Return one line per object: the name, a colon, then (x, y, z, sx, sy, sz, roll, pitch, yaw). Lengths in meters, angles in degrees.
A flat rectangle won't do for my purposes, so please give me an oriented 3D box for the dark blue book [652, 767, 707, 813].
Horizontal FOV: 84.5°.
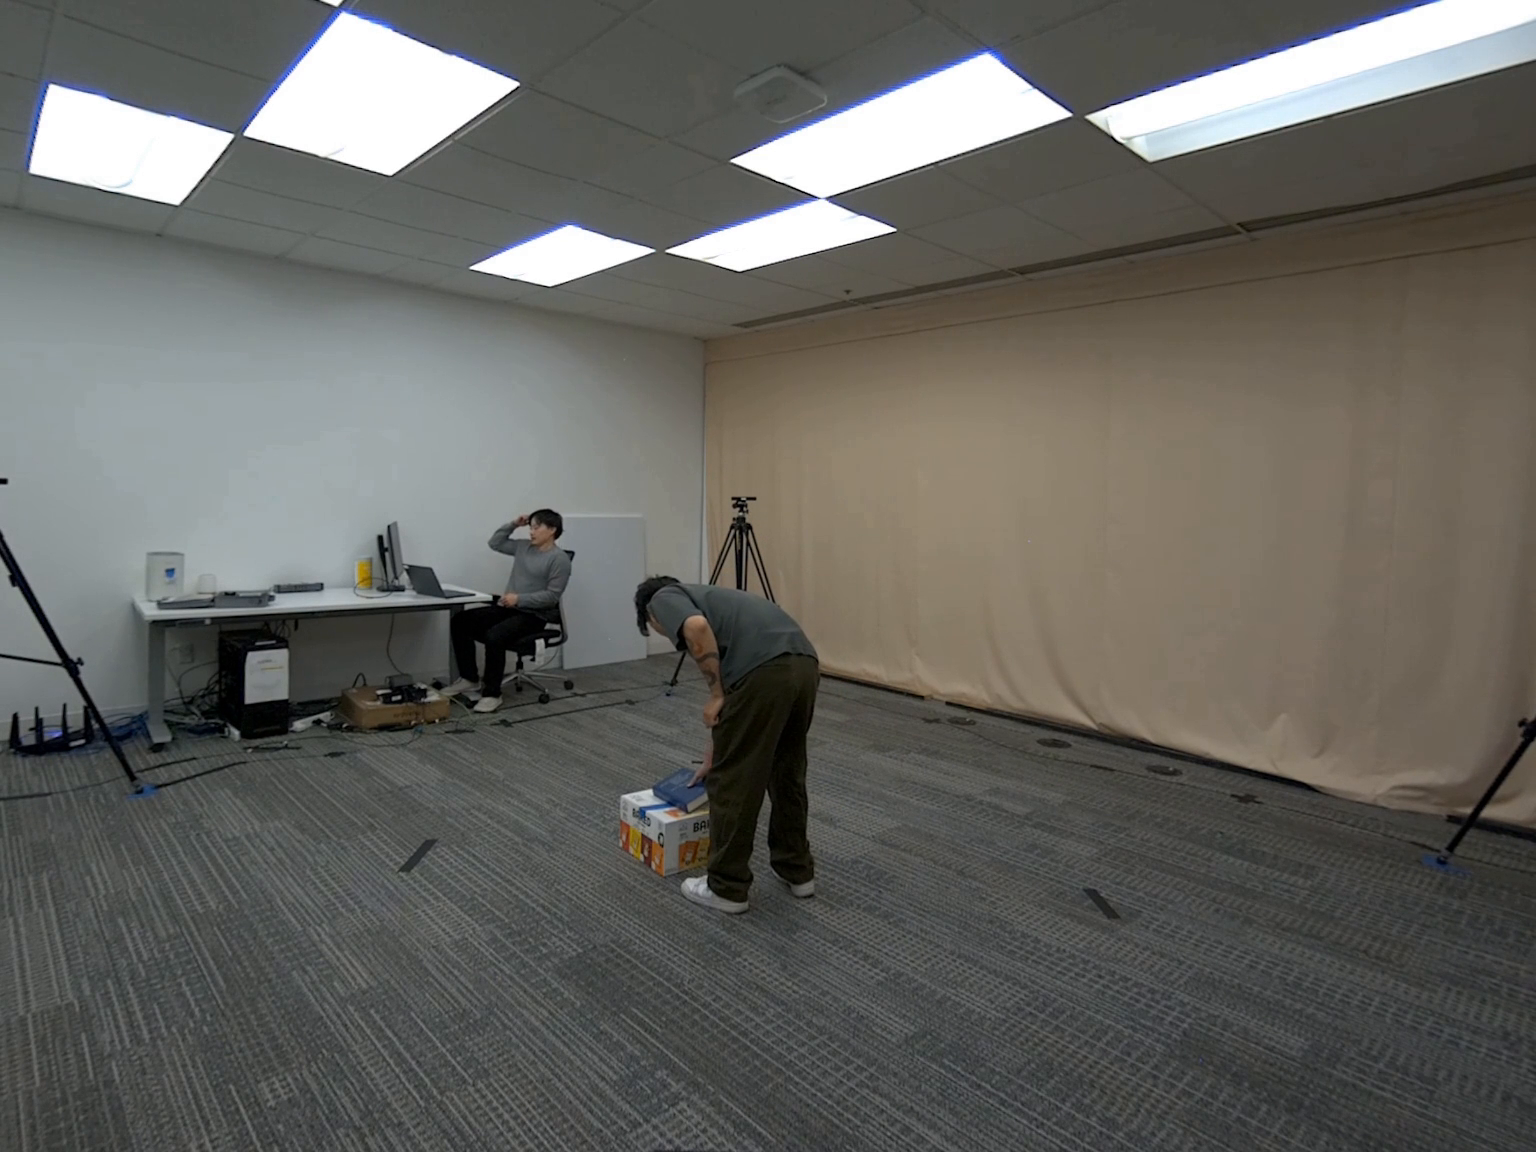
dark blue book: (-0.343, 0.850, 3.318, 0.161, 0.044, 0.251, -23, 19, -31)
